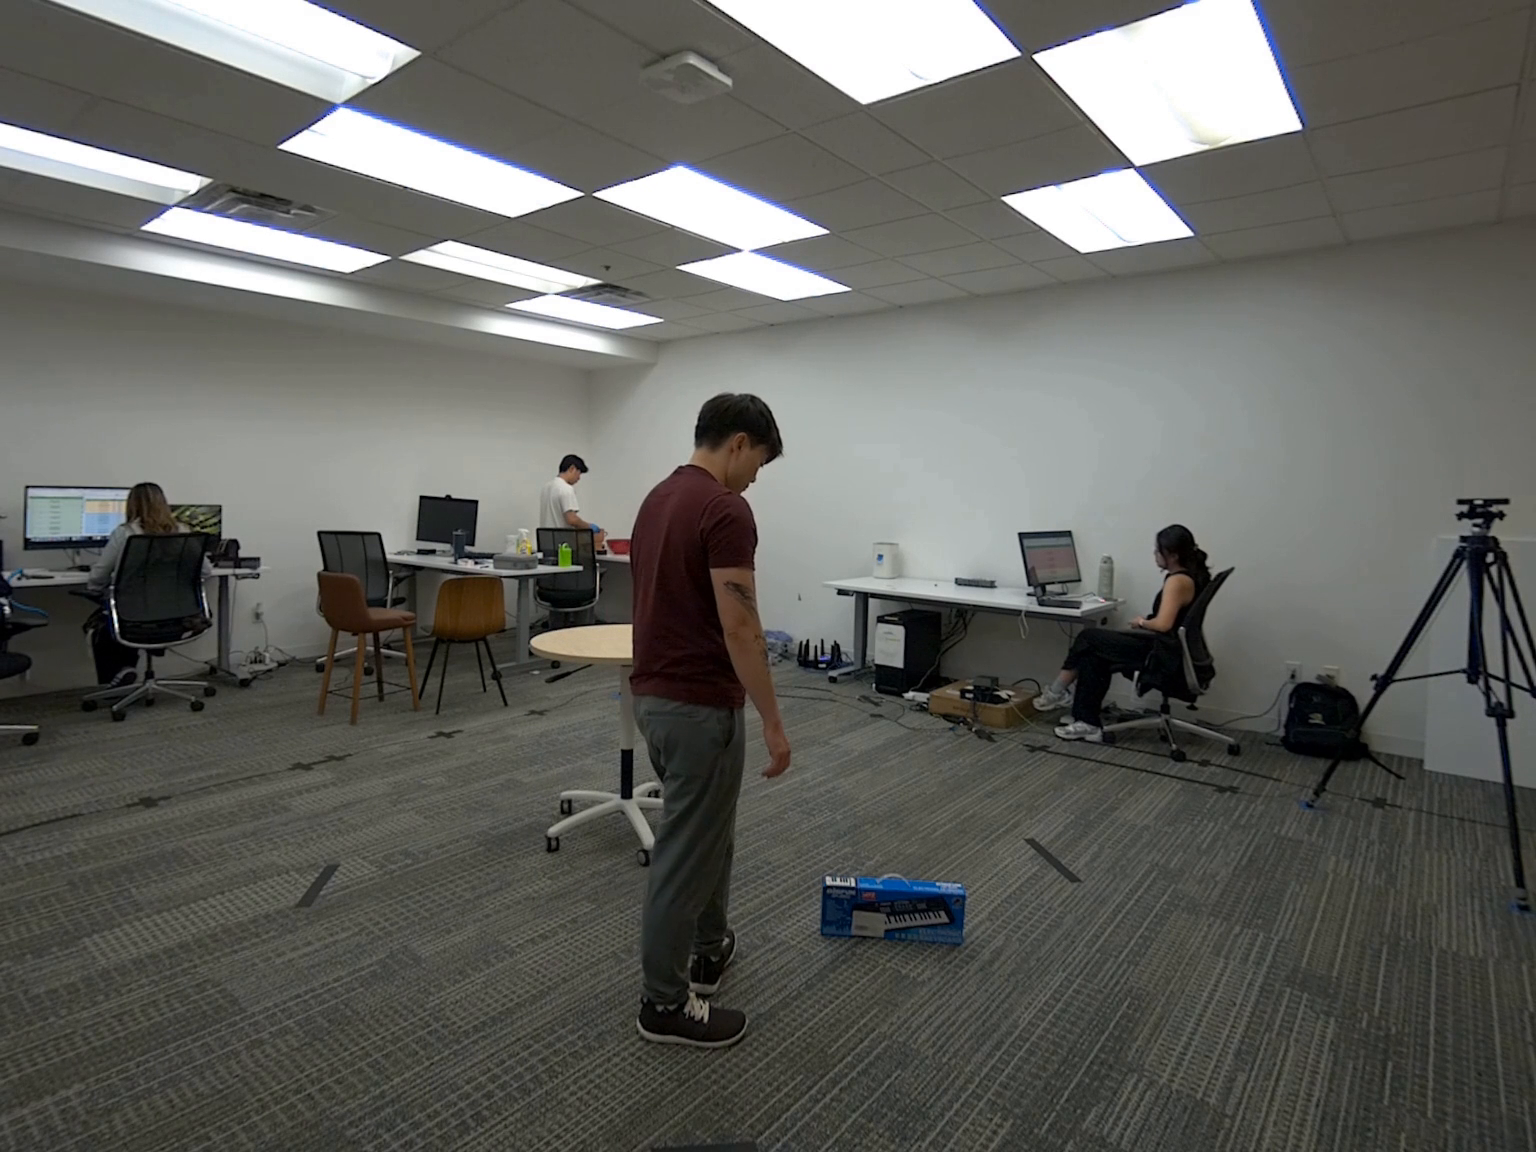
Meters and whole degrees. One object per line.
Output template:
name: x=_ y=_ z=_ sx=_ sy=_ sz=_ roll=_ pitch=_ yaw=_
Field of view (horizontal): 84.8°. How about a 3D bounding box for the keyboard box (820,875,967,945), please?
keyboard box: x=0.383 y=1.040 z=2.655 sx=0.439 sy=0.174 sz=0.059 roll=1 pitch=11 yaw=4
